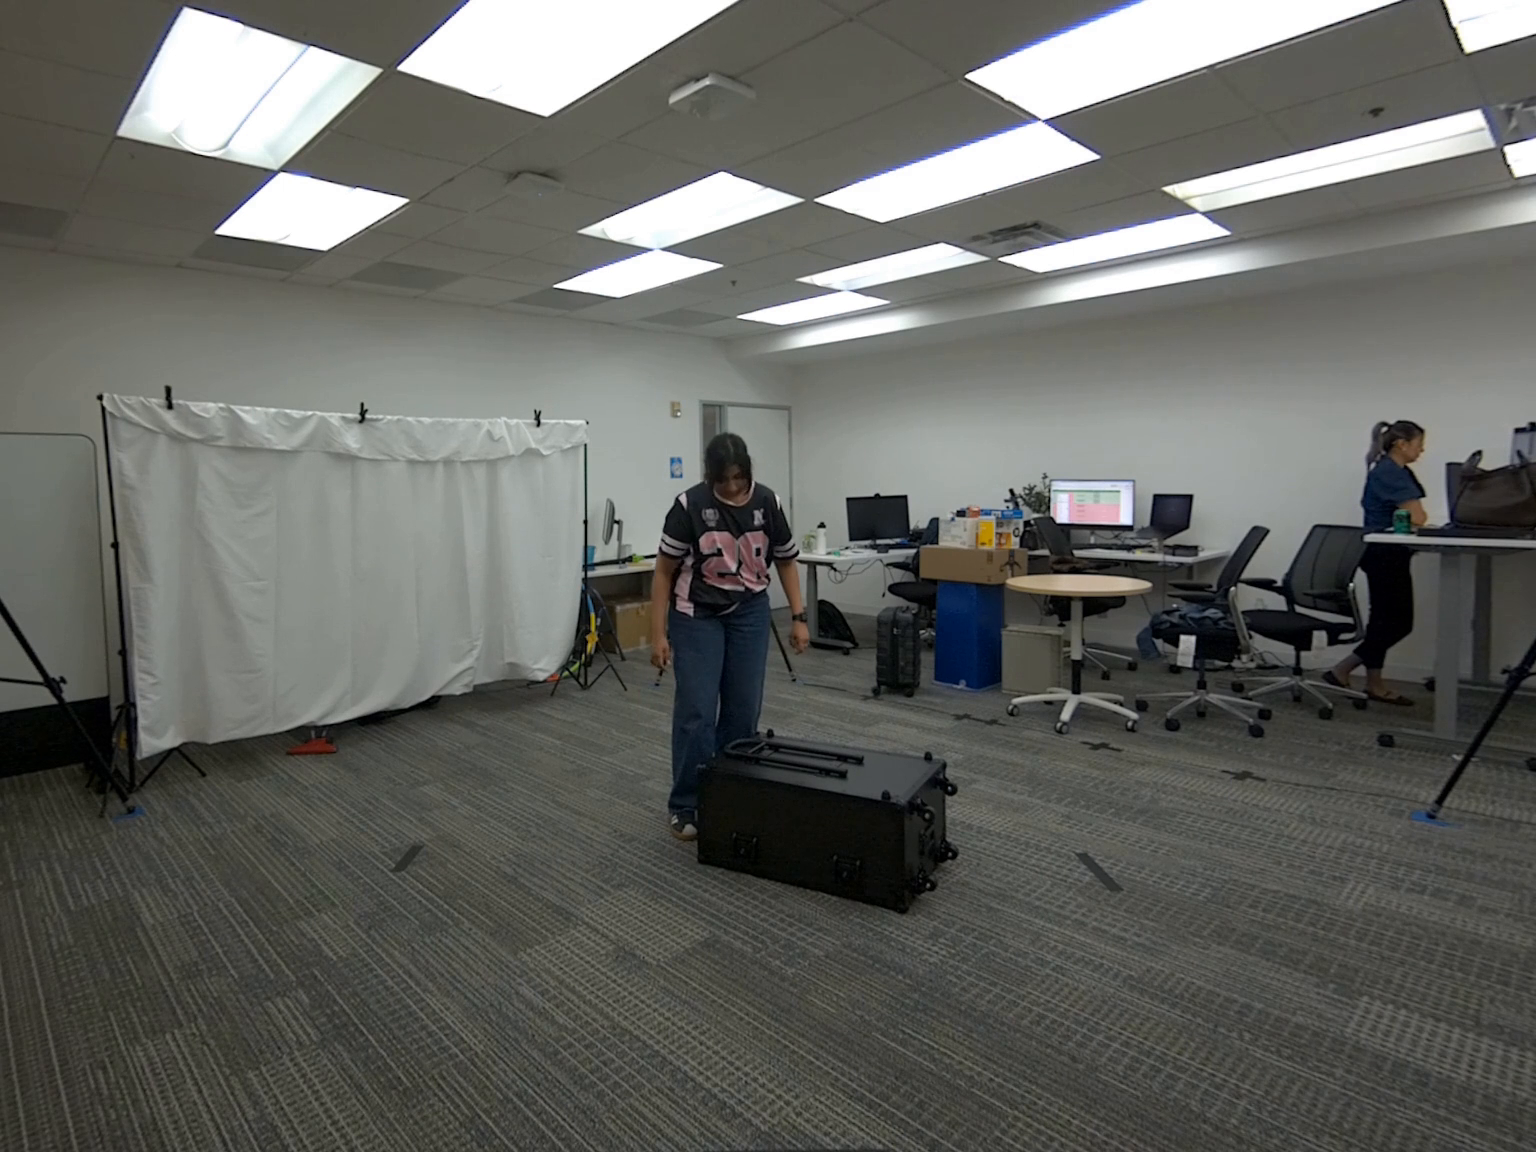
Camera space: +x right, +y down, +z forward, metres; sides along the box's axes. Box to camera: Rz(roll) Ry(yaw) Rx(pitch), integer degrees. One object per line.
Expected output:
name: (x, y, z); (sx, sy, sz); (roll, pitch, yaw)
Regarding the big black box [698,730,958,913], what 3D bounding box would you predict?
big black box: (0.236, 0.856, 3.104); (0.891, 0.384, 0.512); (2, 5, 28)
